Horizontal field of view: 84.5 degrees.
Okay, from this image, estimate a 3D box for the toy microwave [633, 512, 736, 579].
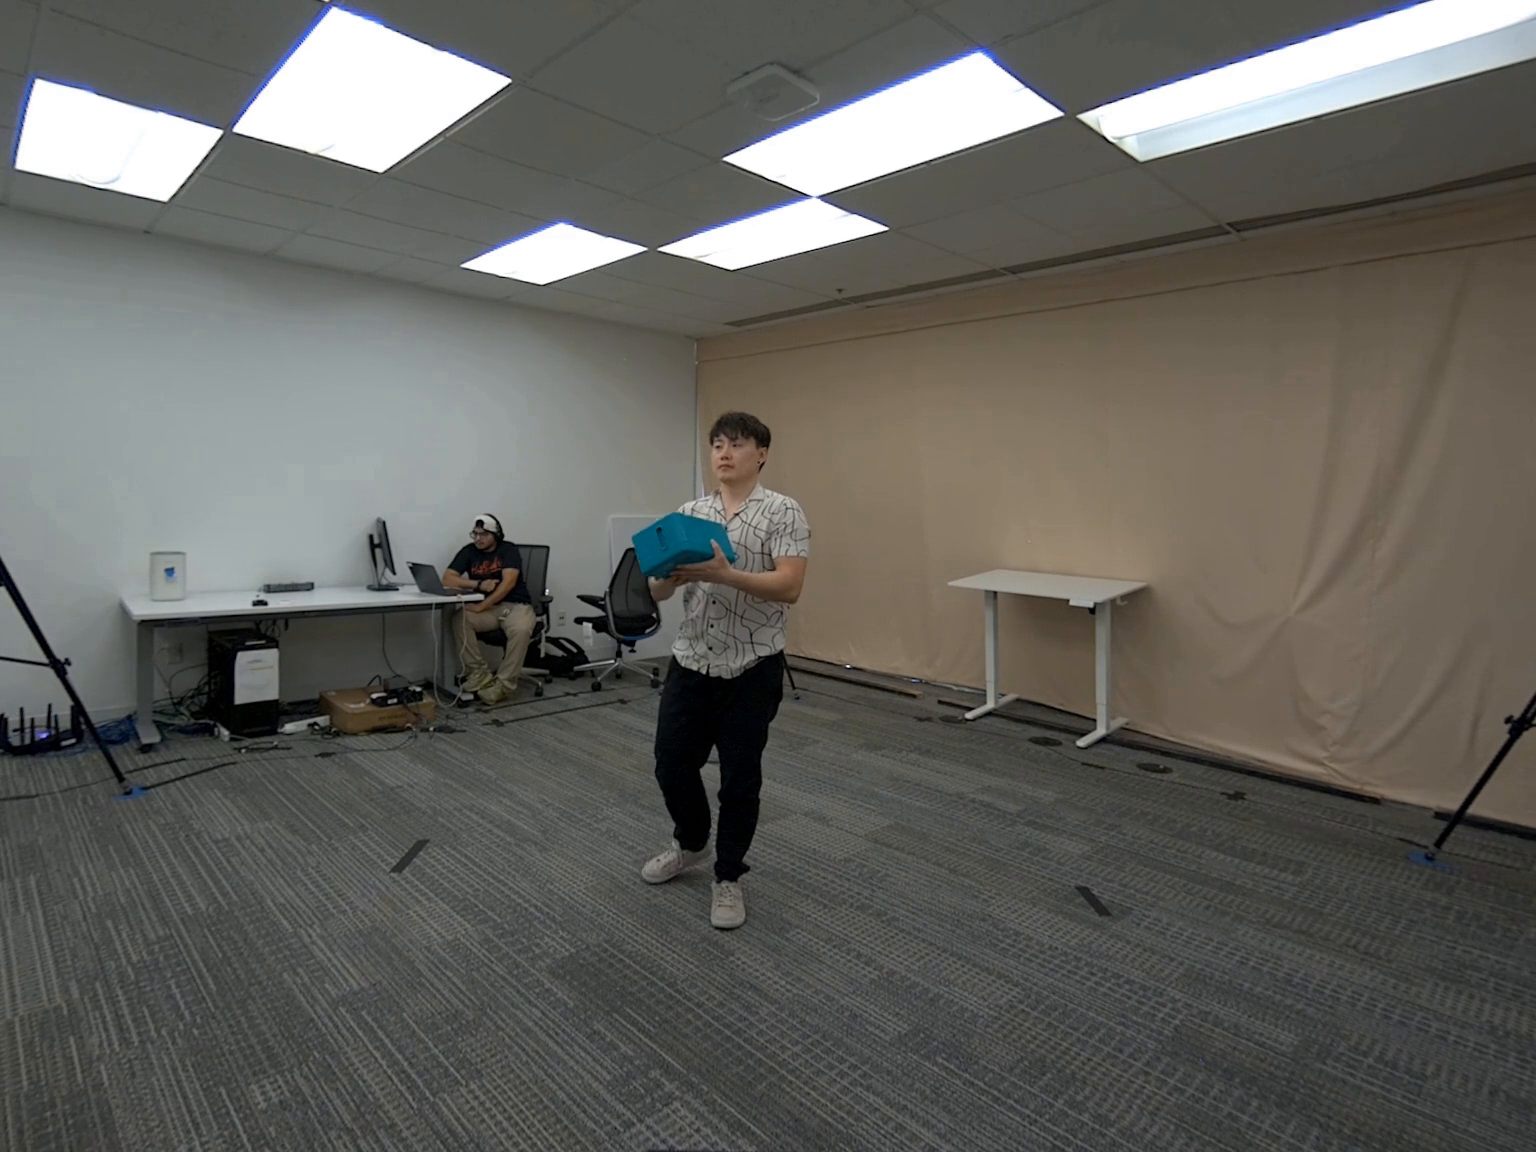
[{"bbox_3d":[-0.259,-0.091,2.507,0.186,0.155,0.279,-27,-21,27],"label":"toy microwave"}]
